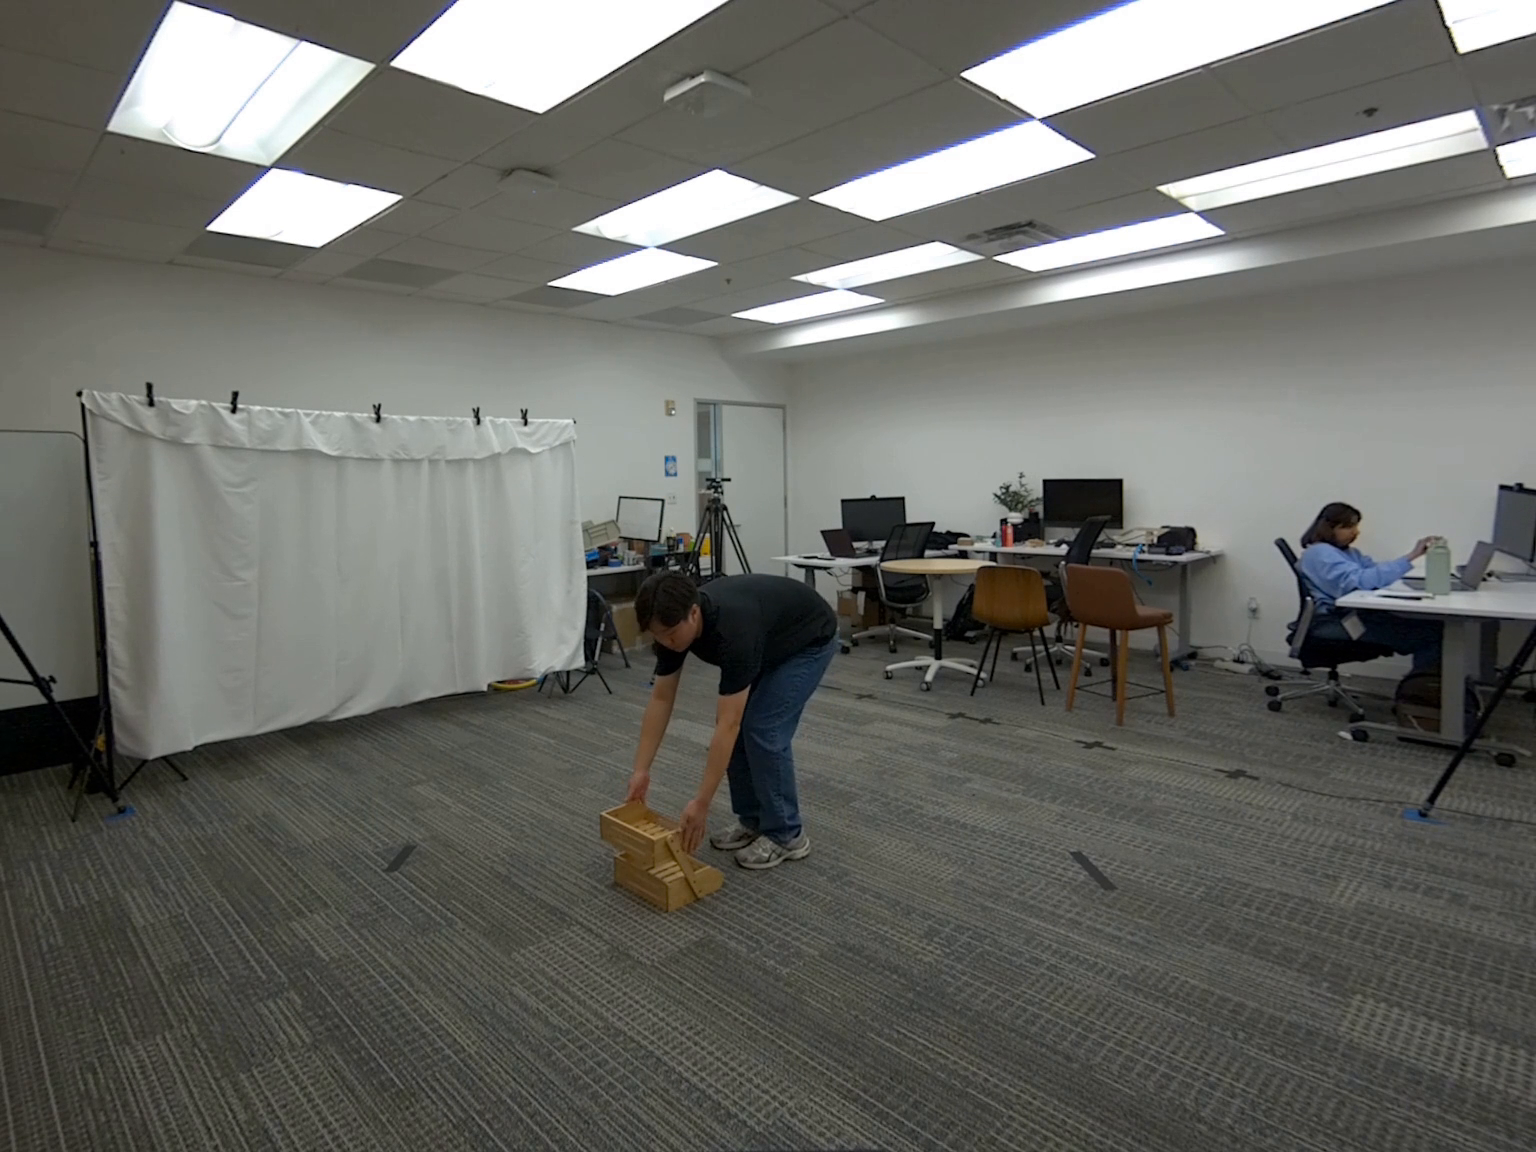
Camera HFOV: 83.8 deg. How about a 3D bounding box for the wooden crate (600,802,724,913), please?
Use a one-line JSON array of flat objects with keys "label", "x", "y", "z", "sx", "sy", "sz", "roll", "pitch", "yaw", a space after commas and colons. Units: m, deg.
[{"label": "wooden crate", "x": -0.358, "y": 0.933, "z": 2.925, "sx": 0.294, "sy": 0.272, "sz": 0.334, "roll": -7, "pitch": 8, "yaw": -44}]
